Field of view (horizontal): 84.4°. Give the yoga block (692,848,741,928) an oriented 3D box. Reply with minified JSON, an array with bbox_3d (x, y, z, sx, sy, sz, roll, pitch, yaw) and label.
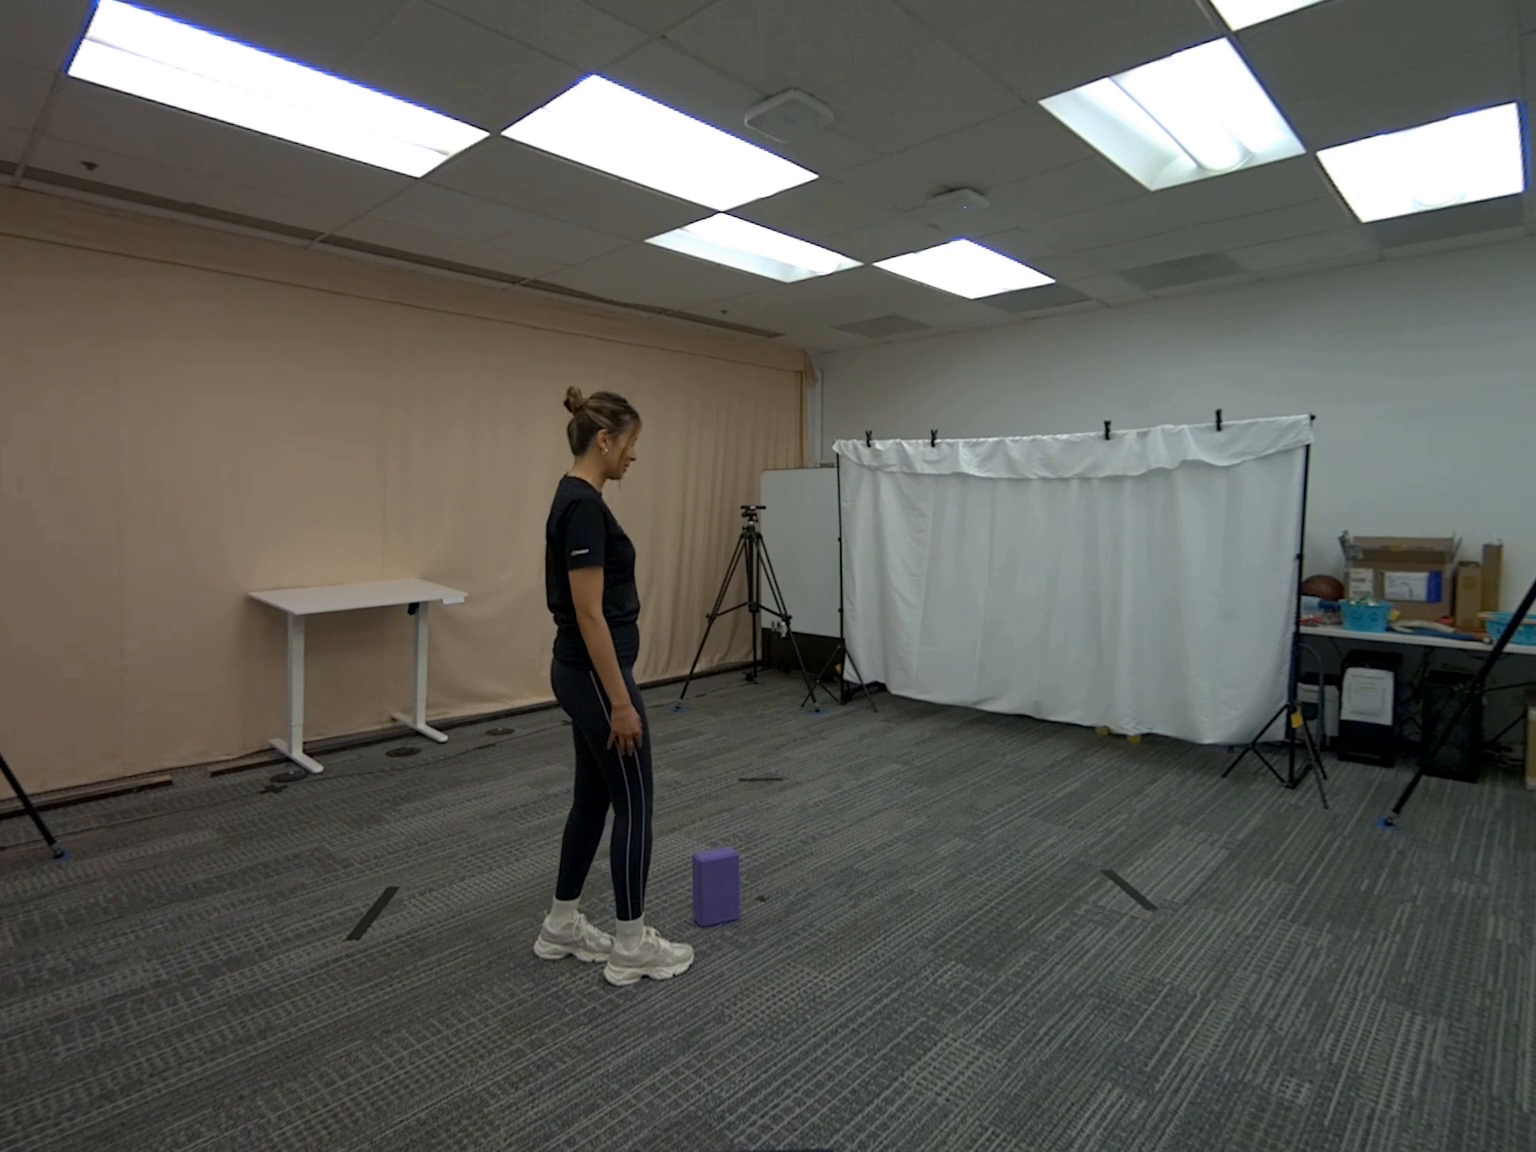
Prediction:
[{"bbox_3d":[-0.171,1.041,2.821,0.145,0.229,0.078,-1,3,-25],"label":"yoga block"}]
